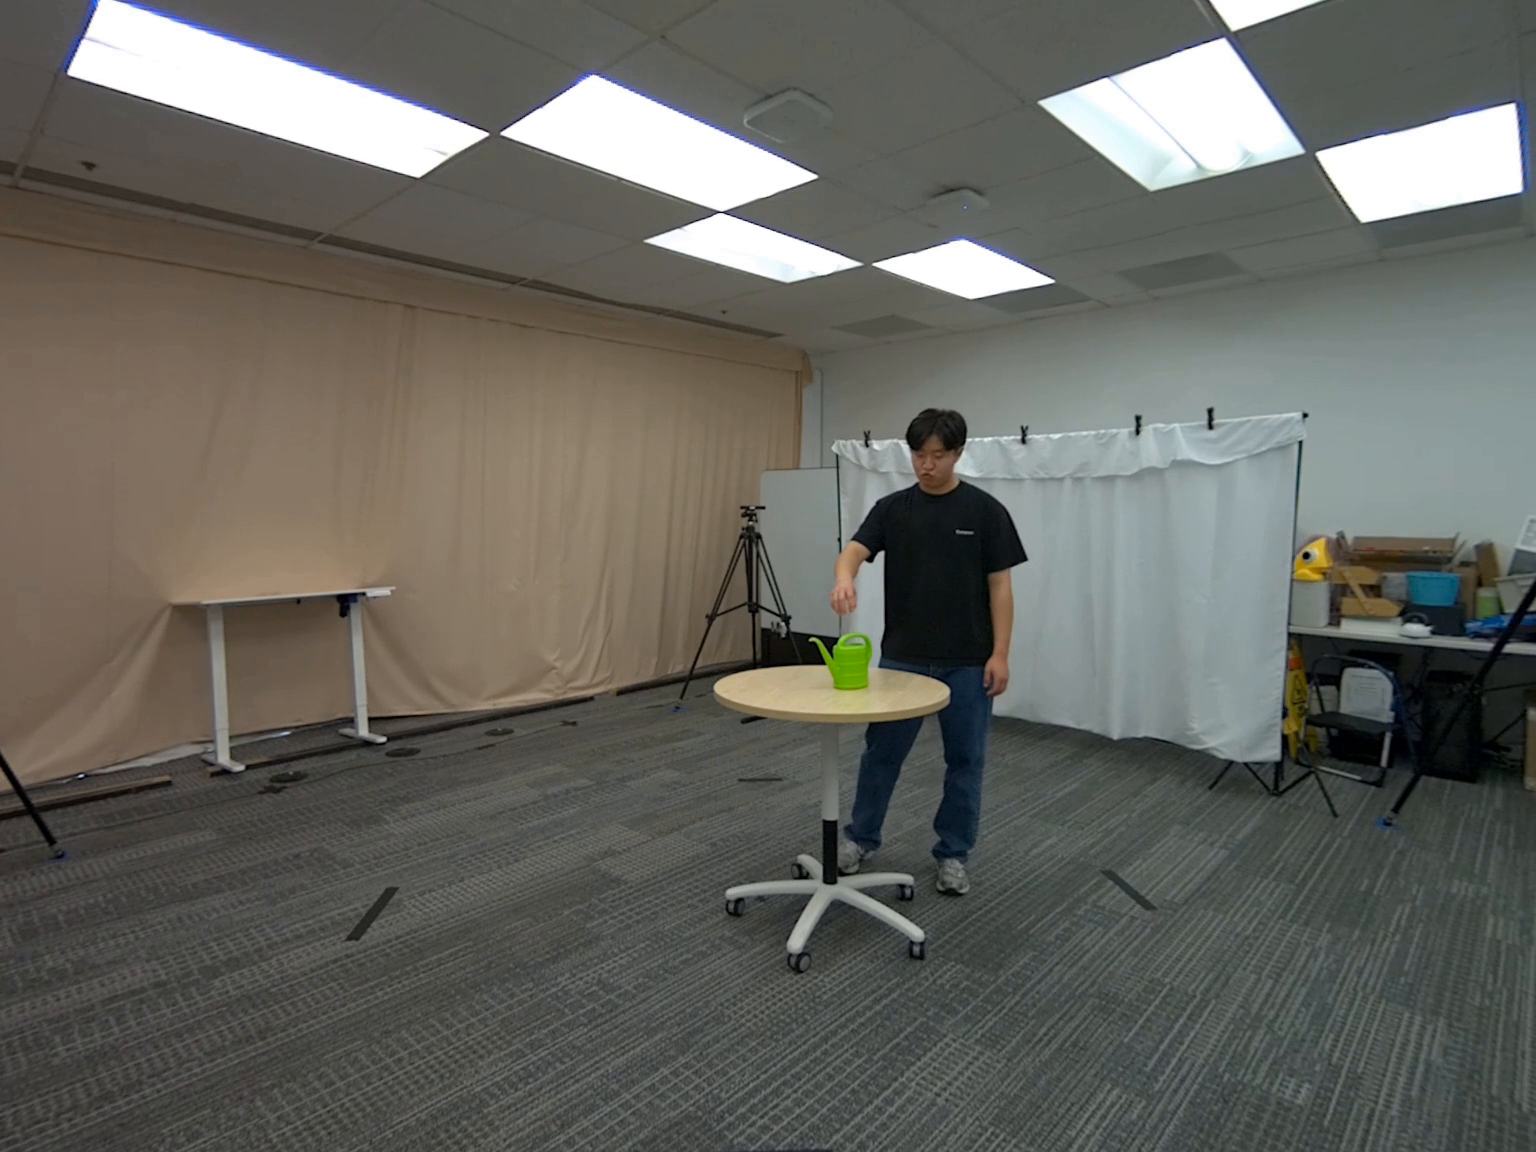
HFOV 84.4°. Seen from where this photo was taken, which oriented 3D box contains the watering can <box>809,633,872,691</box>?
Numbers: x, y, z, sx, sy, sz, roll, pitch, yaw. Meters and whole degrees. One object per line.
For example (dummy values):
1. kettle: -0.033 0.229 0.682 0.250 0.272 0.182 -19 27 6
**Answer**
1. watering can: 0.238 0.278 2.741 0.271 0.177 0.100 -1 1 -25
